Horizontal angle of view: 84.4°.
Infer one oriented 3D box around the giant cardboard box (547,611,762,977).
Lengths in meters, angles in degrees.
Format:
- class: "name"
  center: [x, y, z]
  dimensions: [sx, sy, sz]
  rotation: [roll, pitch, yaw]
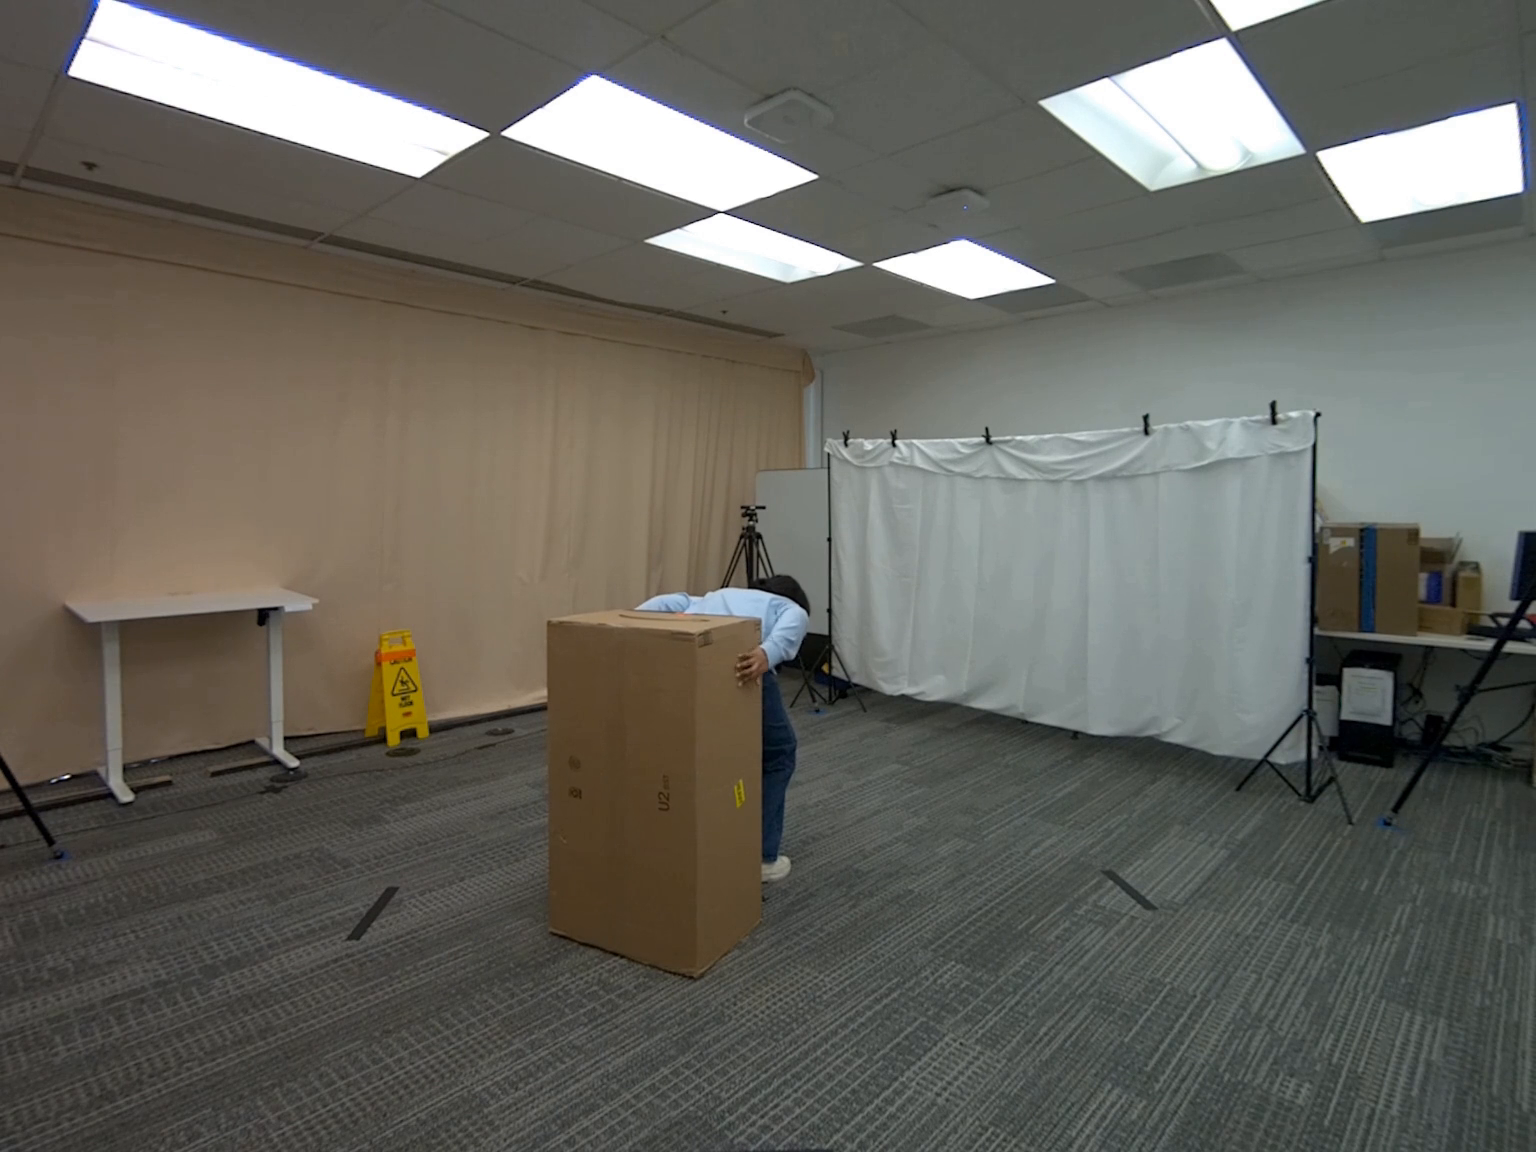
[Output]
- class: "giant cardboard box"
  center: [-0.375, 0.656, 2.775]
  dimensions: [0.594, 1.025, 0.415]
  rotation: [1, 2, 30]
